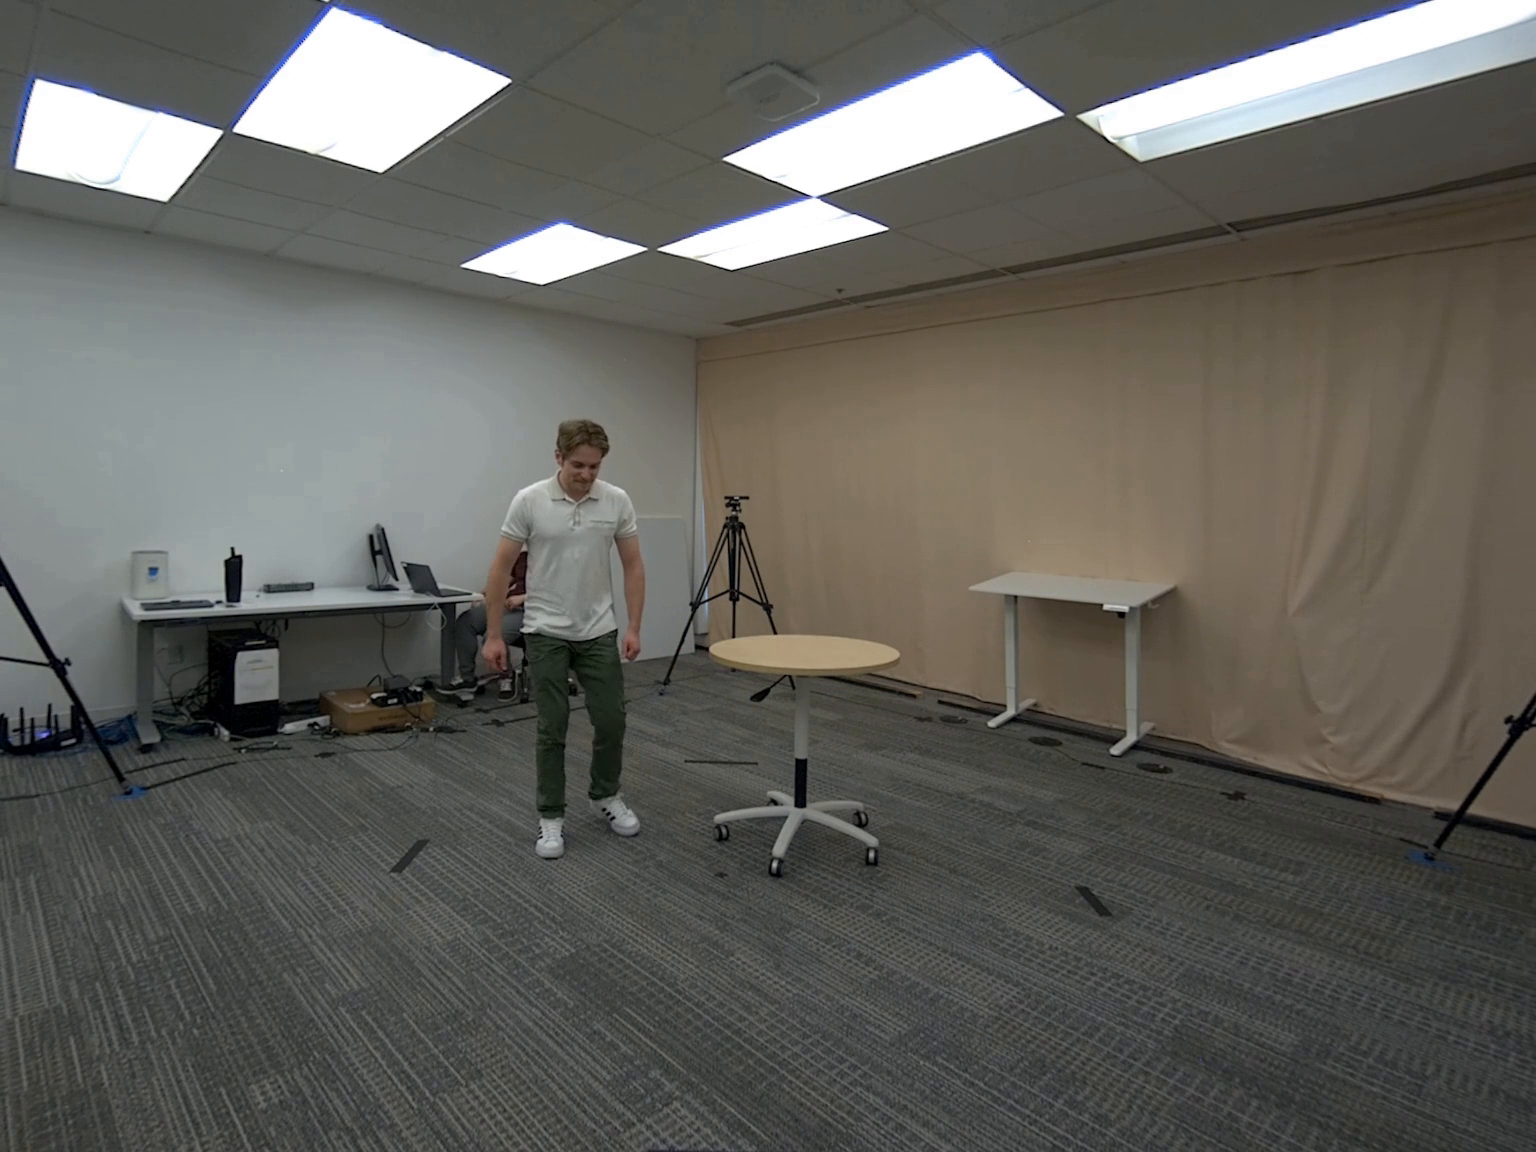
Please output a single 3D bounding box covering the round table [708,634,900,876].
[{"bbox_3d":[0.132,0.693,3.417,0.763,0.792,0.766,1,4,-1],"label":"round table"}]
